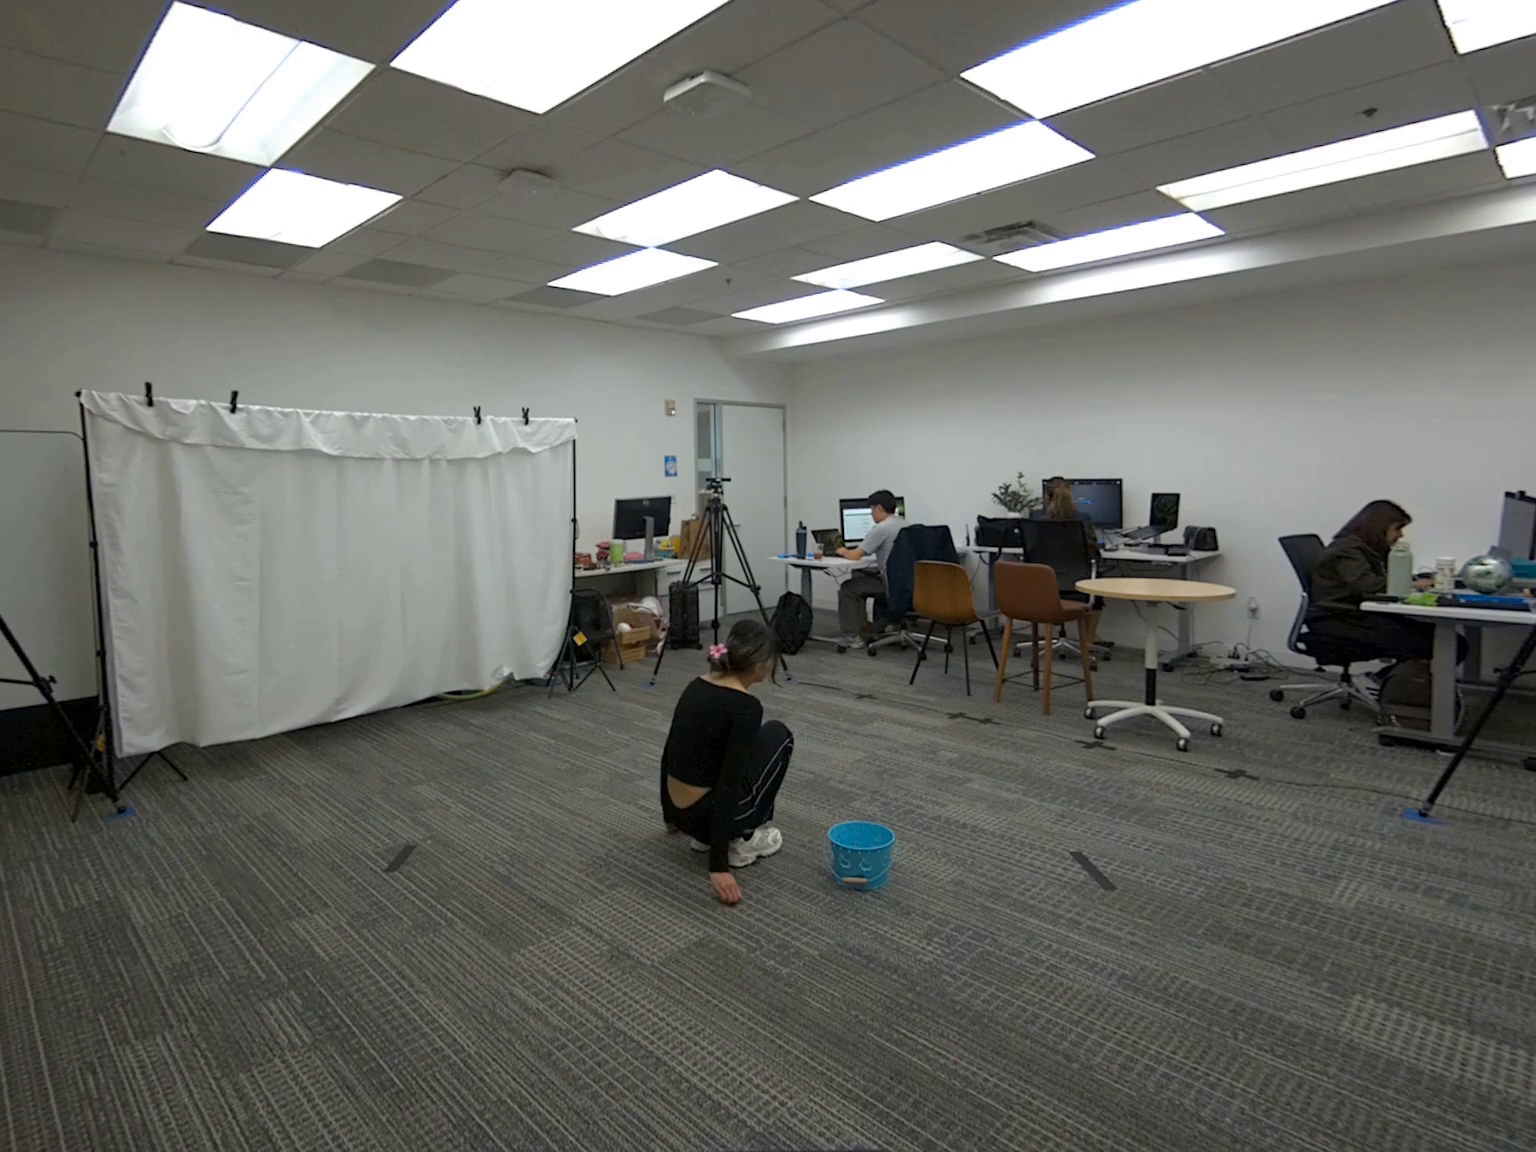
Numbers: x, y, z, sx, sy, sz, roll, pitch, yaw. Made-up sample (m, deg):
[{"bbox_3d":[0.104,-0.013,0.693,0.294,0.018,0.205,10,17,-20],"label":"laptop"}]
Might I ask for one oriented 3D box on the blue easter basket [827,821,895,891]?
[{"bbox_3d":[0.320,0.964,2.968,0.243,0.155,0.245,-1,5,-2],"label":"blue easter basket"}]
